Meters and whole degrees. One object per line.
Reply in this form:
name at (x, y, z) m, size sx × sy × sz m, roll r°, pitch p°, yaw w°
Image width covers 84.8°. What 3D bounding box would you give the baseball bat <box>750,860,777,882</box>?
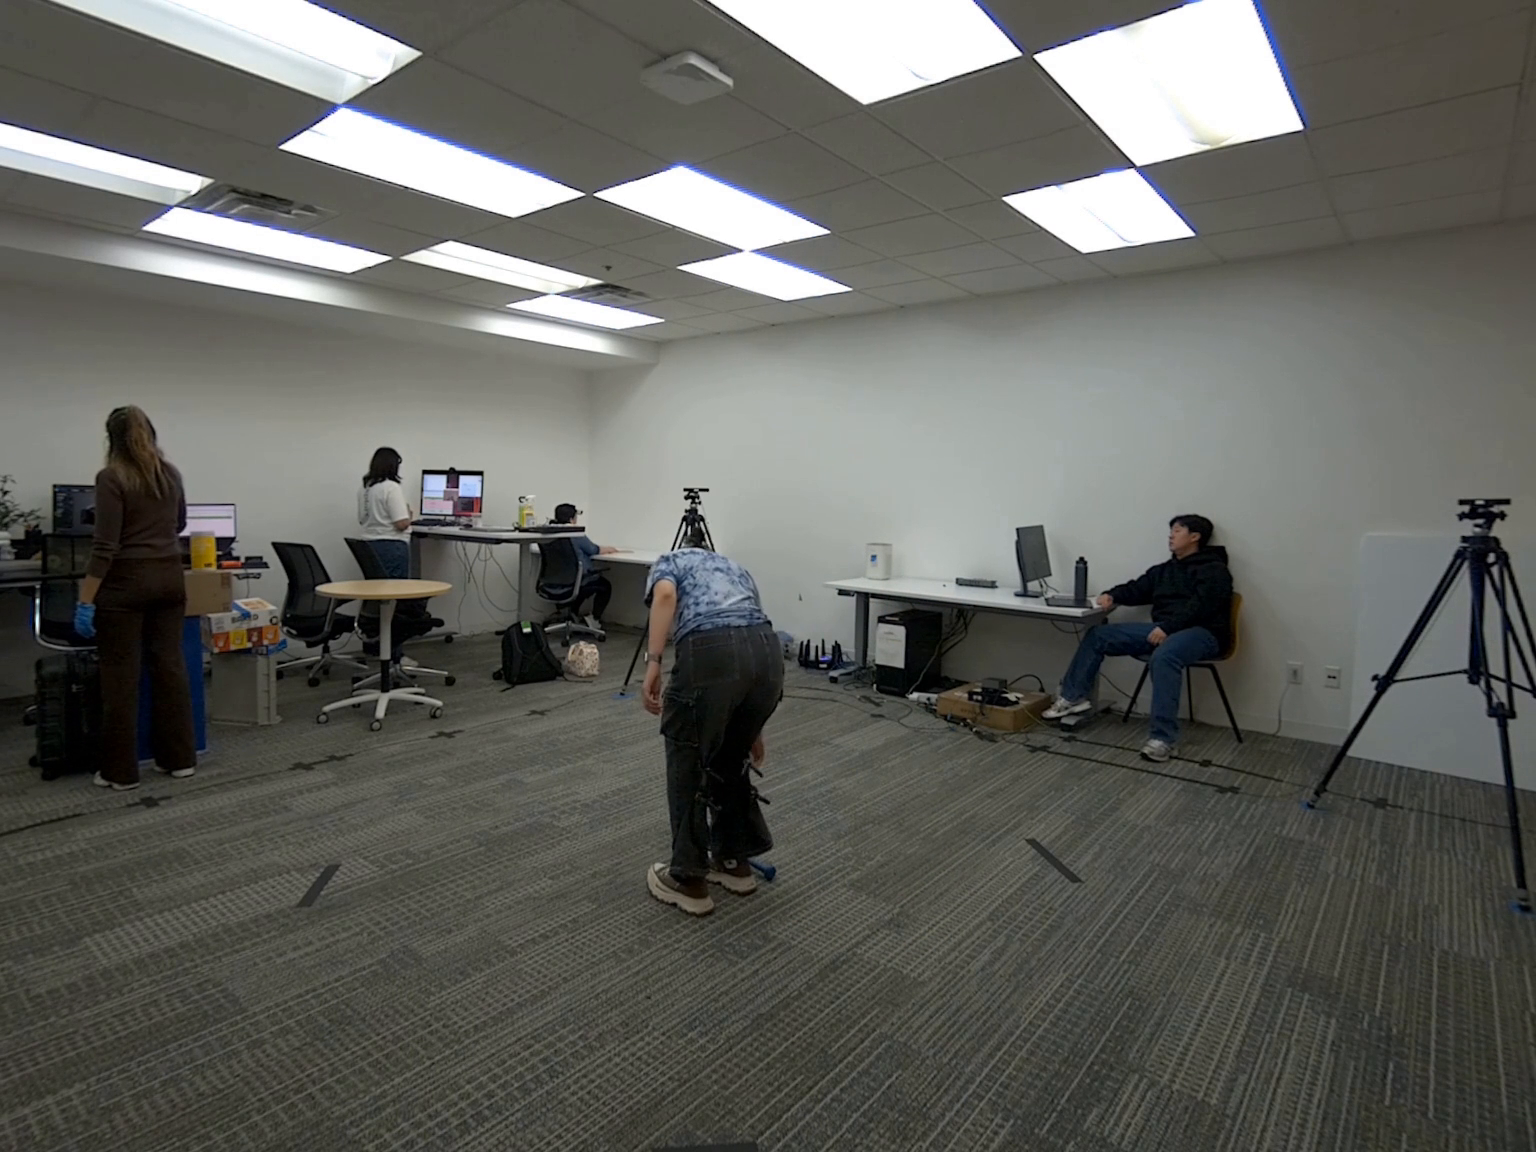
baseball bat at (-0.178, 1.018, 3.230) m, size 0.086 × 0.088 × 0.563 m, roll -3°, pitch 9°, yaw -41°
